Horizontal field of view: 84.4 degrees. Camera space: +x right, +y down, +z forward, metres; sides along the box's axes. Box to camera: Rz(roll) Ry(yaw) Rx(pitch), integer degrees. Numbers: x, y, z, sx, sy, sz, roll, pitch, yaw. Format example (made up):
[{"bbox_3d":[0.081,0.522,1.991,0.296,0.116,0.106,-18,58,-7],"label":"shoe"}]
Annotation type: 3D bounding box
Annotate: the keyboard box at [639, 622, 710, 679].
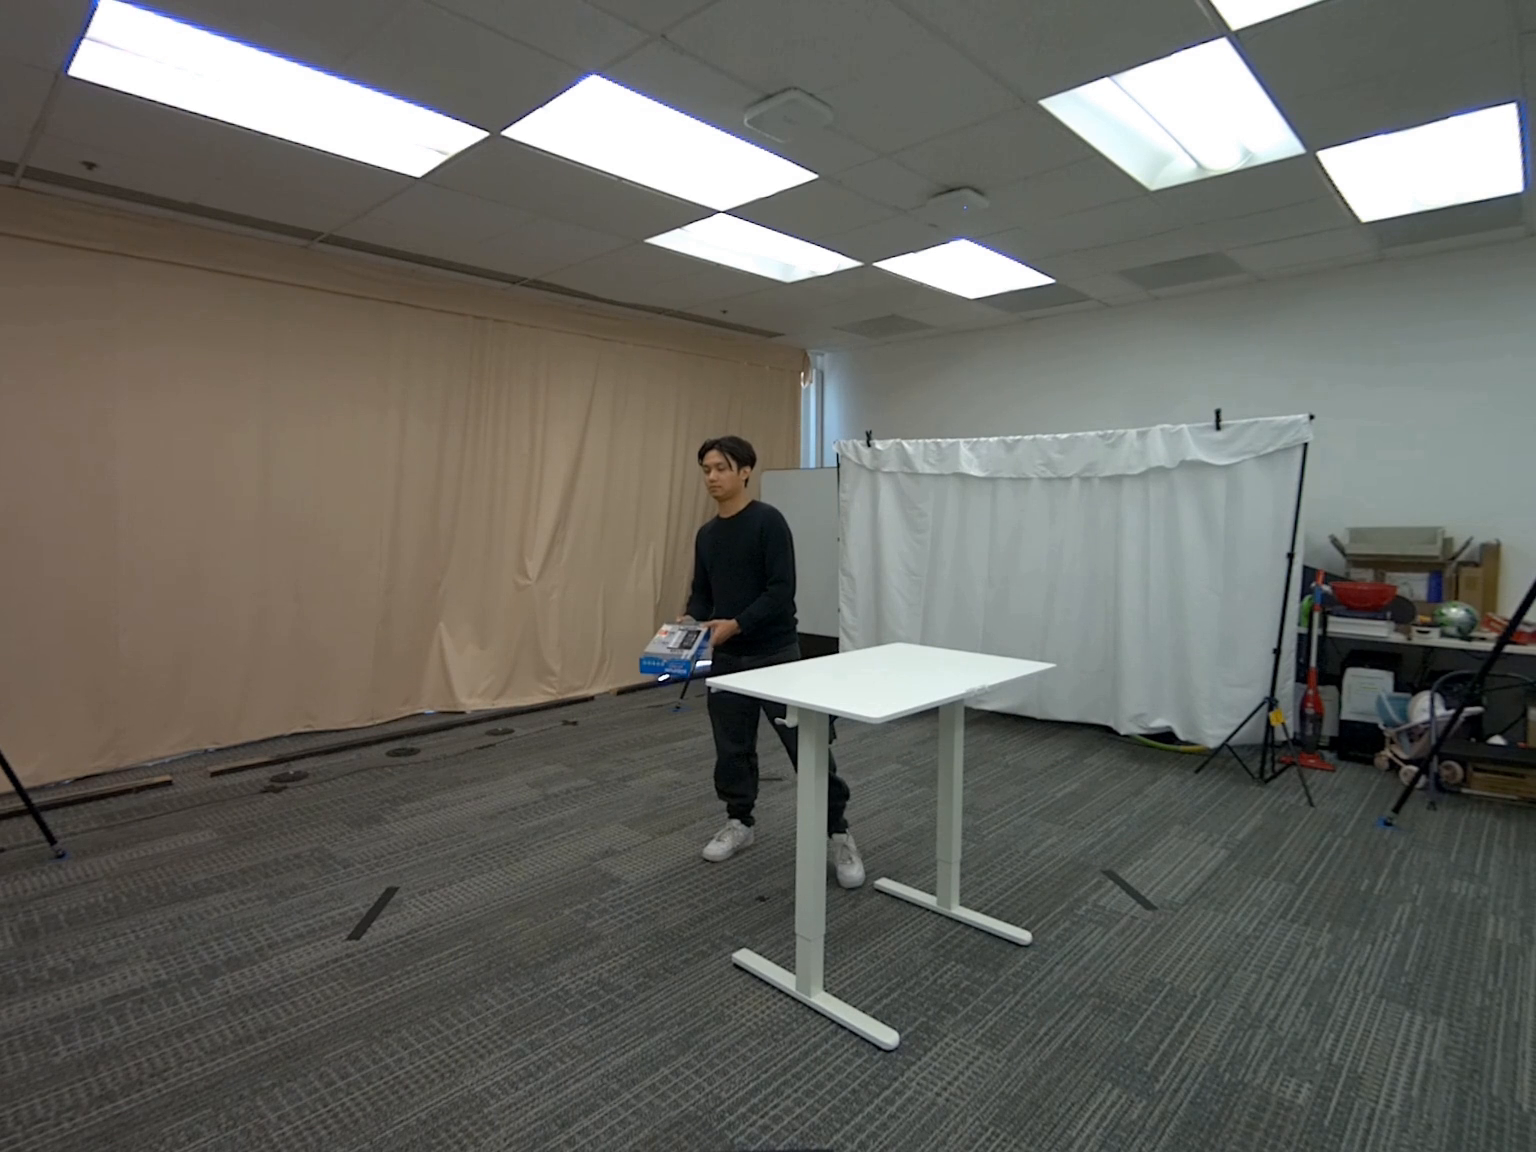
[{"bbox_3d":[-0.308,0.248,2.973,0.178,0.059,0.436,2,13,7],"label":"keyboard box"}]
